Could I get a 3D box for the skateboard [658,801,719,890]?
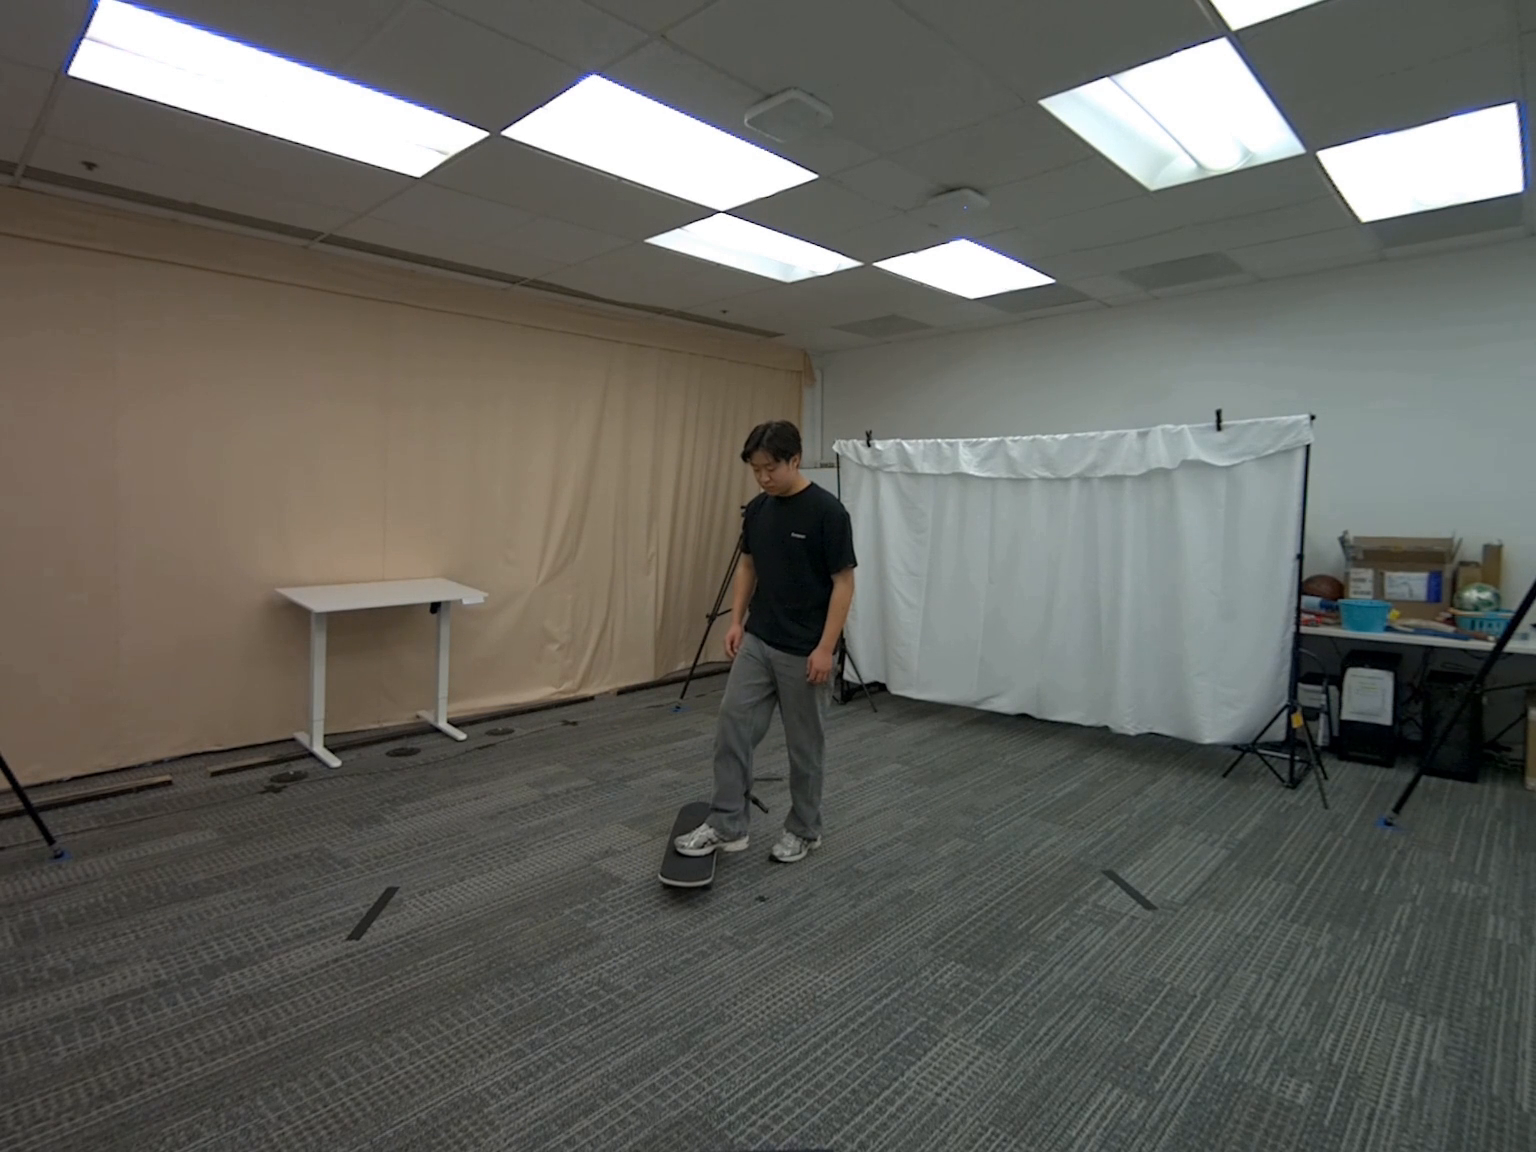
[{"bbox_3d":[-0.292,1.064,3.266,0.194,0.110,0.786,0,5,0],"label":"skateboard"}]
